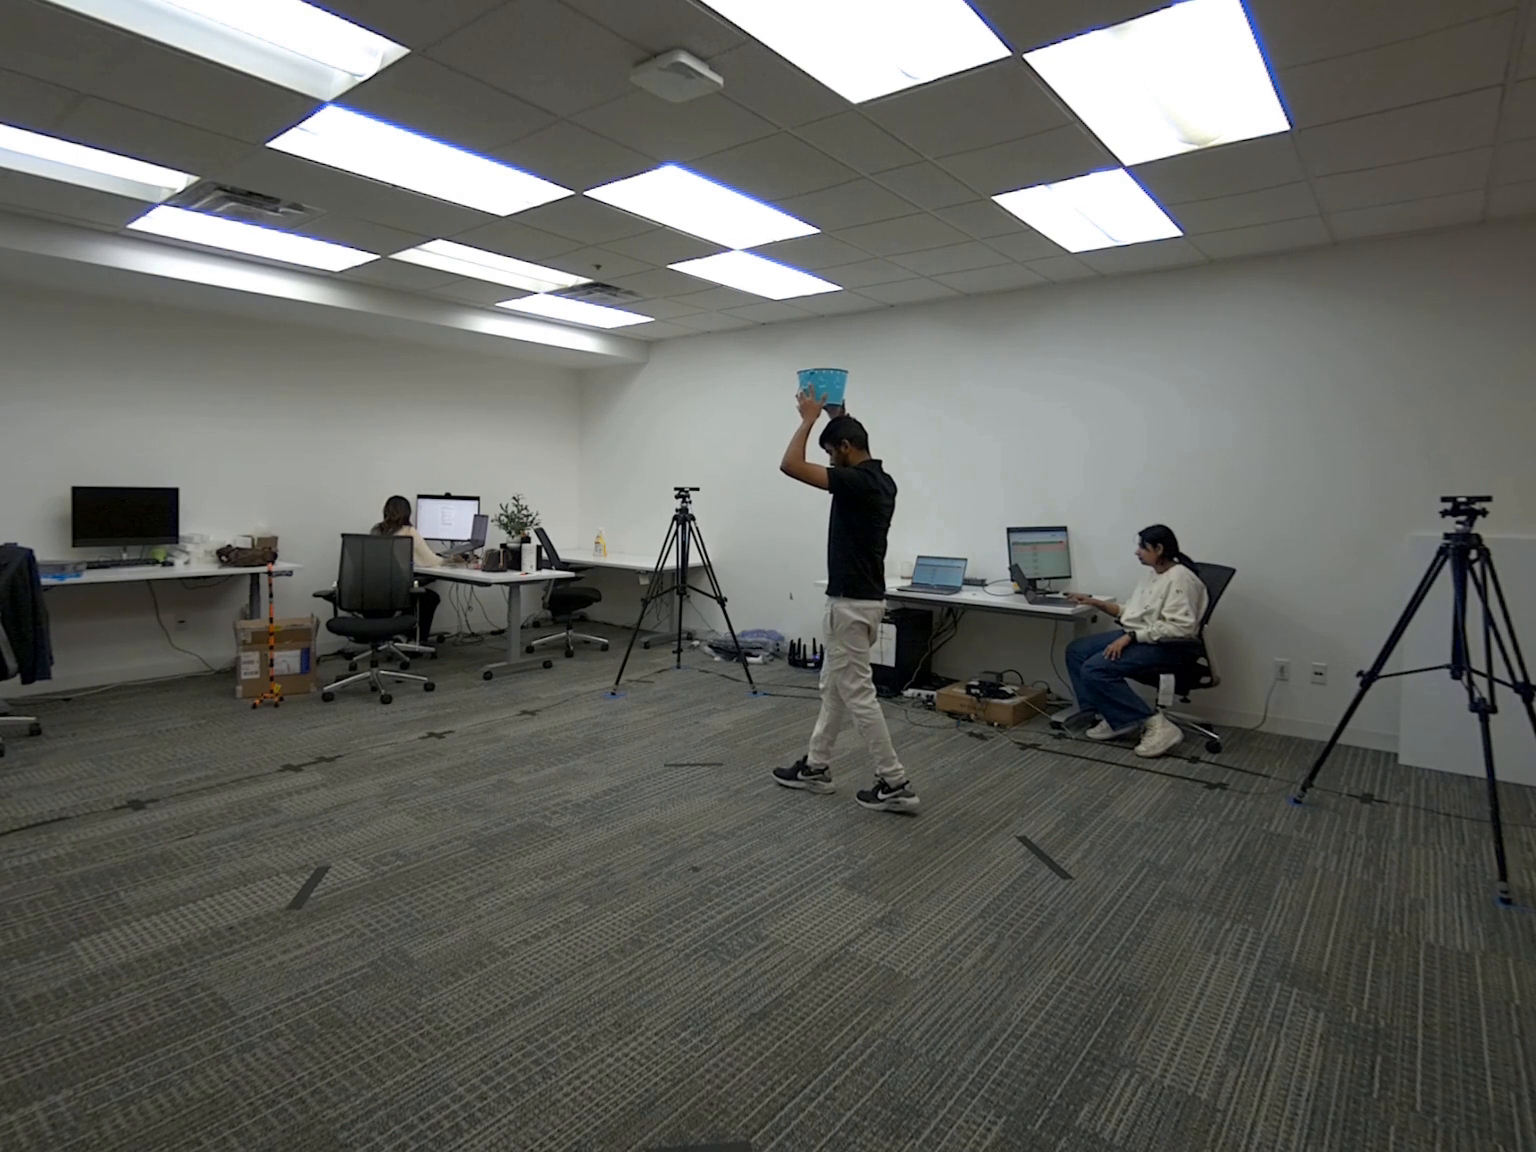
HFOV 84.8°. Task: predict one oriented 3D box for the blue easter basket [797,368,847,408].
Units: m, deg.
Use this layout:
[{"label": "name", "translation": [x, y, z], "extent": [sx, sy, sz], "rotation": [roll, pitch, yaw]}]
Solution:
[{"label": "blue easter basket", "translation": [0.249, -0.860, 3.874], "extent": [0.243, 0.155, 0.244], "rotation": [0, 3, -2]}]
